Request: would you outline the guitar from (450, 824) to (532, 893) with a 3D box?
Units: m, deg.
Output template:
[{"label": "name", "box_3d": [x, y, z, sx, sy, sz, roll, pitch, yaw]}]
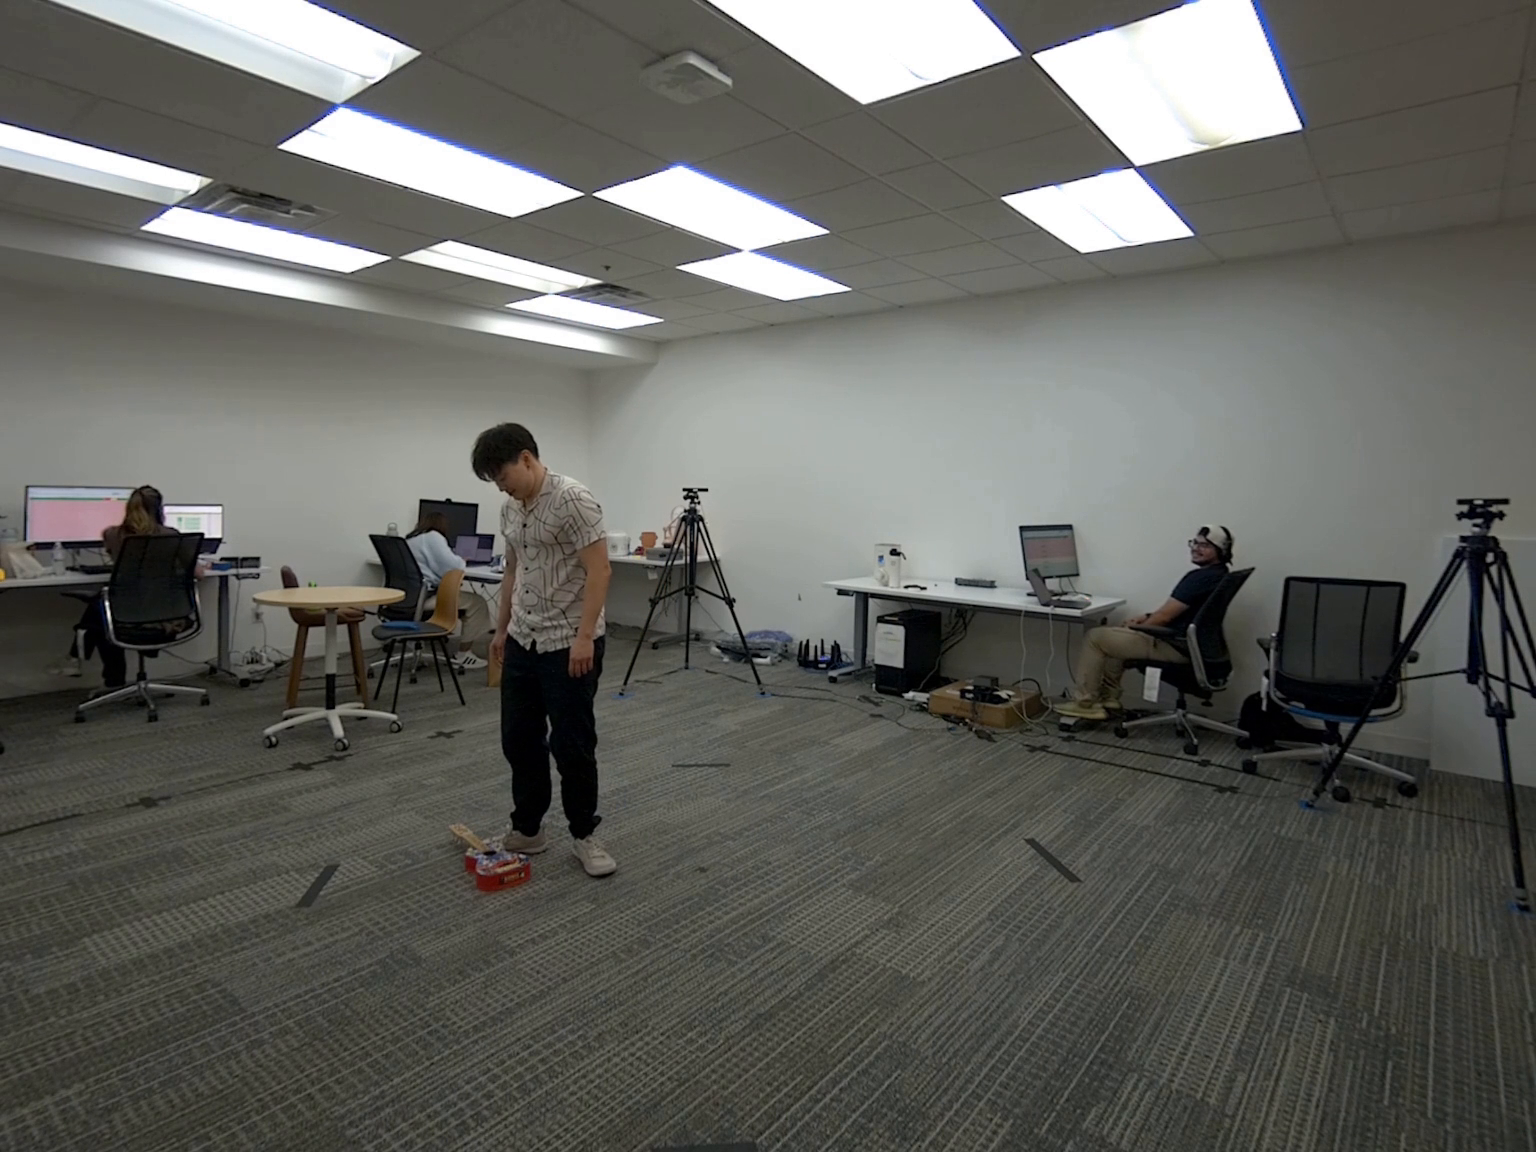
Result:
[{"label": "guitar", "box_3d": [-1.049, 1.019, 3.143, 0.188, 0.070, 0.514, -3, 7, -33]}]
